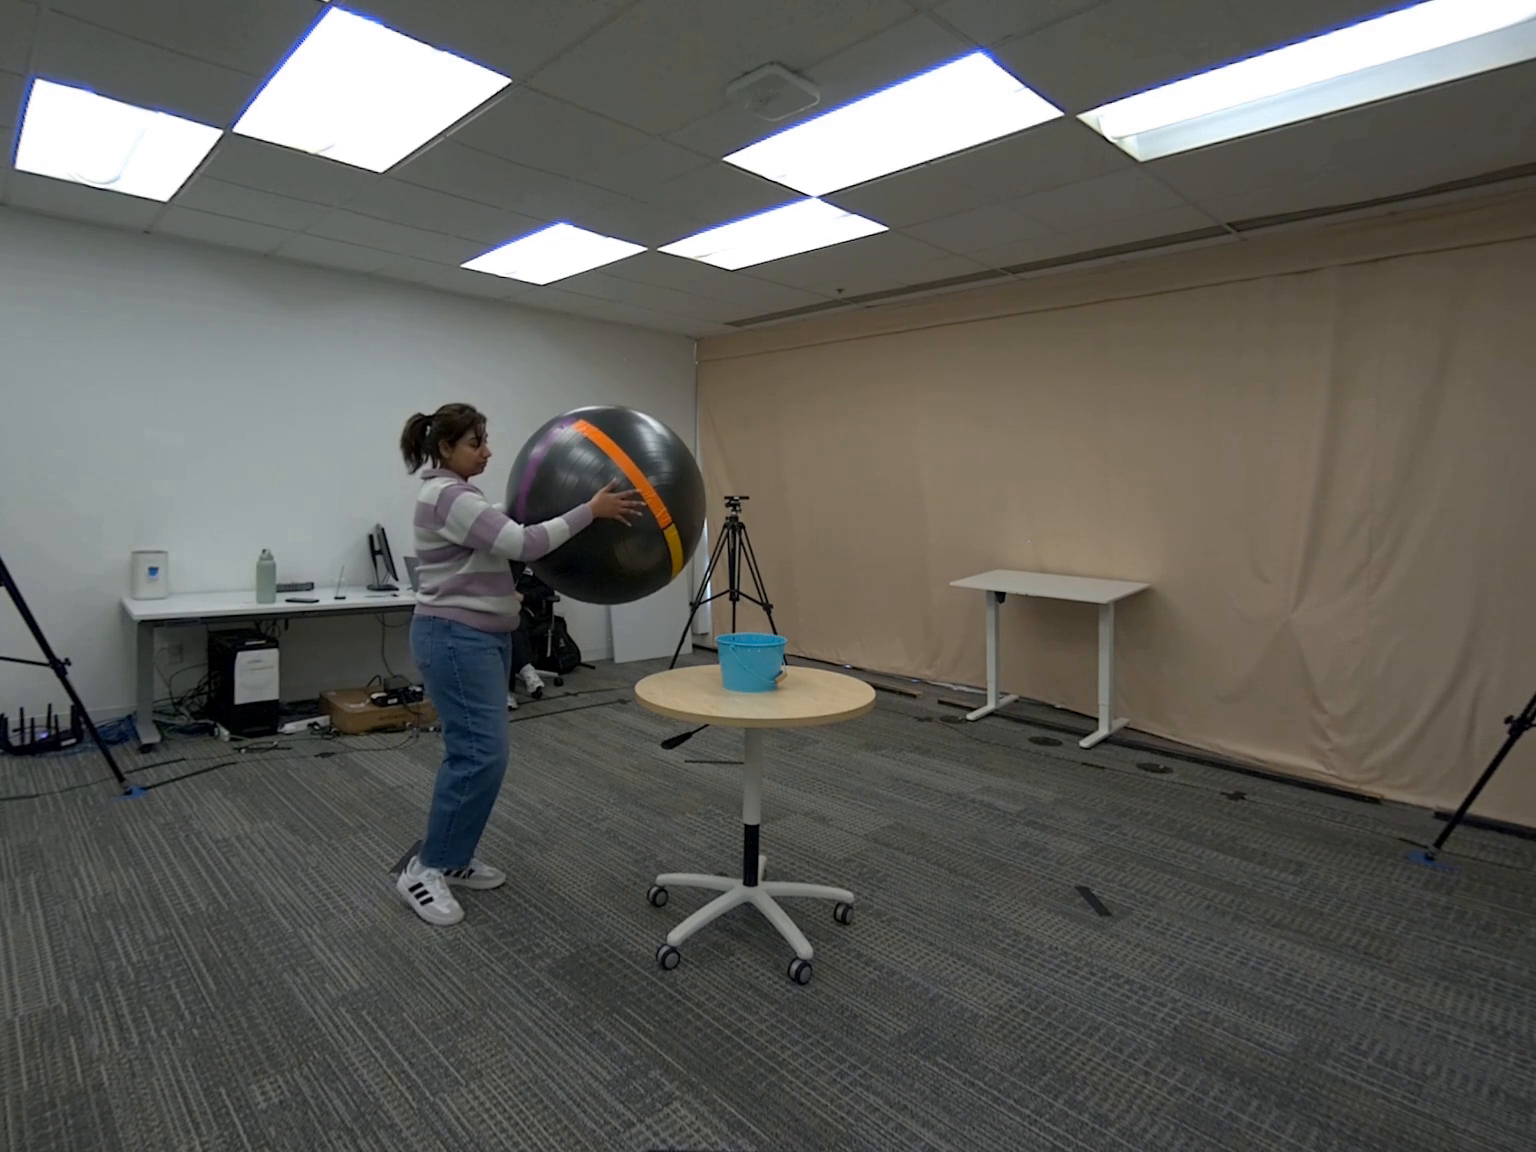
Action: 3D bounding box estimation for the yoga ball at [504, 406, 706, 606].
[{"bbox_3d":[-0.618,-0.265,3.220,0.757,0.756,0.761,1,4,-1],"label":"yoga ball"}]
